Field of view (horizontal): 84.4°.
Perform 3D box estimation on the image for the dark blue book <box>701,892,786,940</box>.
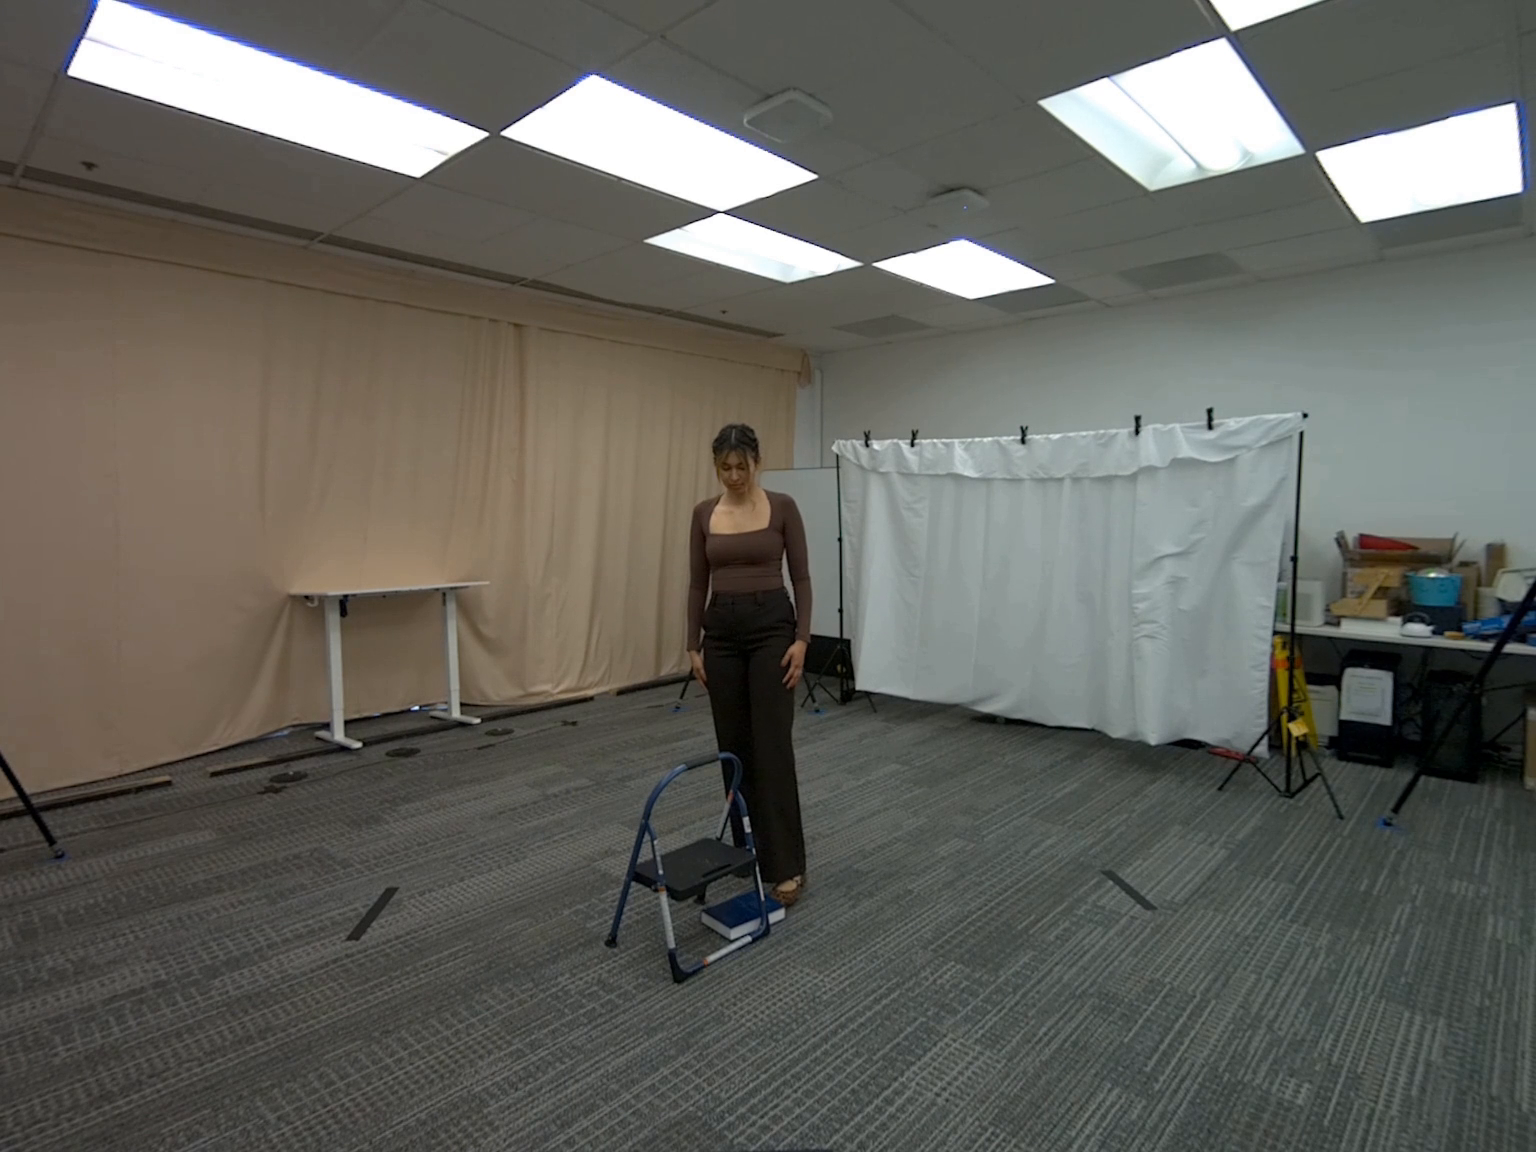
[{"bbox_3d":[-0.078,1.127,2.824,0.238,0.045,0.169,-4,7,-40],"label":"dark blue book"}]
